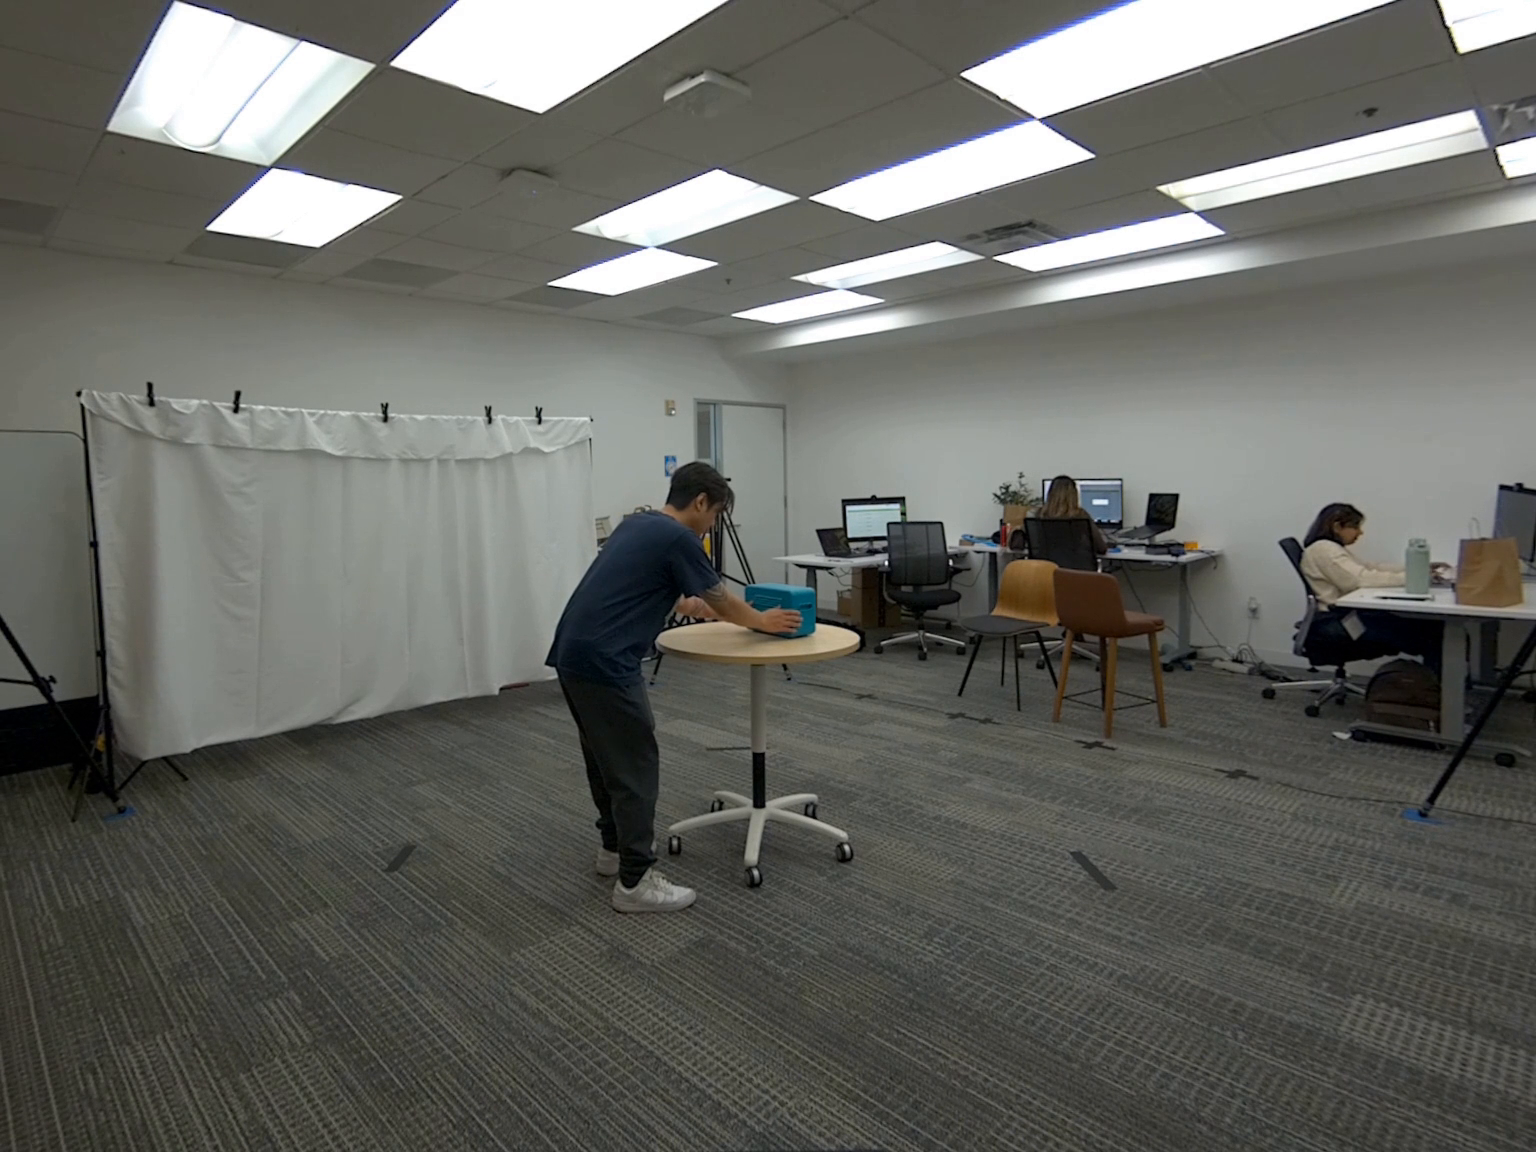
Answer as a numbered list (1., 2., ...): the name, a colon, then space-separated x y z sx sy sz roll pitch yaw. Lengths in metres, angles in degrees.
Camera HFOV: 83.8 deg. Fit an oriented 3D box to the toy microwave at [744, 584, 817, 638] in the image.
1. toy microwave: 0.055 0.129 3.299 0.148 0.183 0.295 -3 5 -38
